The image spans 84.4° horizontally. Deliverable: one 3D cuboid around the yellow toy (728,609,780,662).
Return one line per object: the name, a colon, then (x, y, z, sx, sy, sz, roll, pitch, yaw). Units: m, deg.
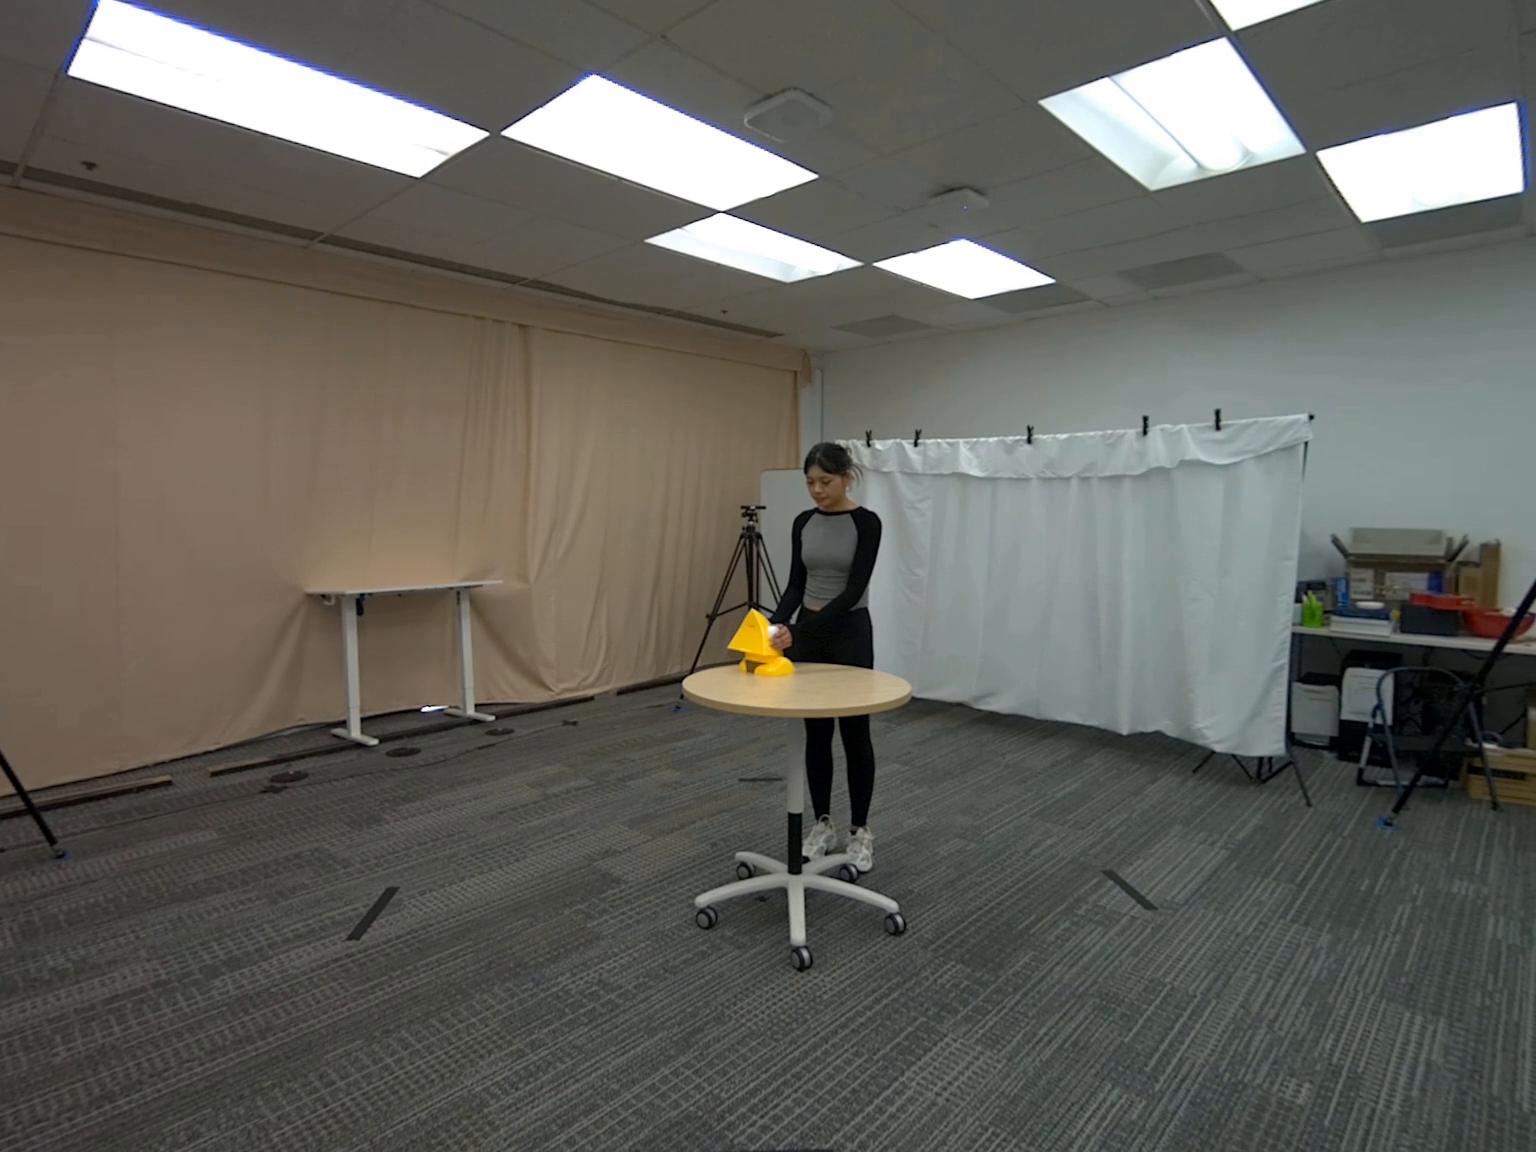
yellow toy: (-0.005, 0.233, 3.061, 0.187, 0.230, 0.211, 1, 2, -41)
